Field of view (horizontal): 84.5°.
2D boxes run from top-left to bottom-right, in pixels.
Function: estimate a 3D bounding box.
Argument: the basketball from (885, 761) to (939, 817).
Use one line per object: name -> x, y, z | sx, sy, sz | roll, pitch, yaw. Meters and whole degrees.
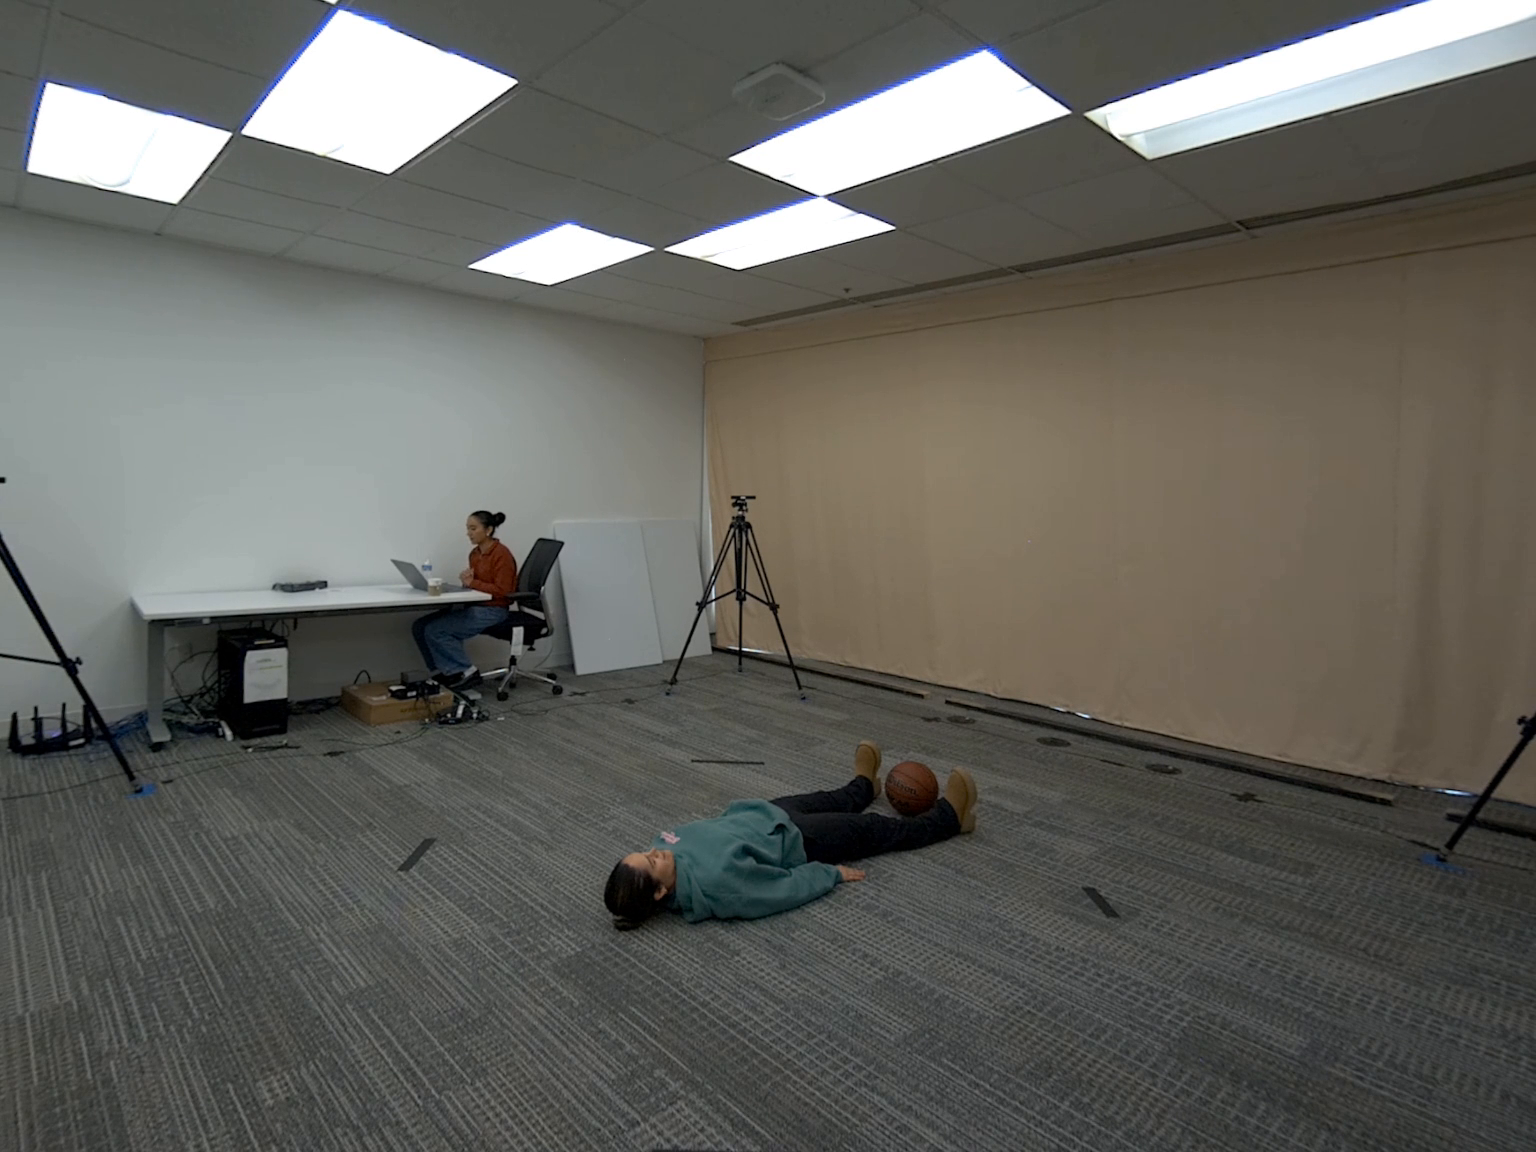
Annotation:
basketball -> 0.625, 0.946, 3.758 | 0.236, 0.235, 0.237 | 1, 5, -1
